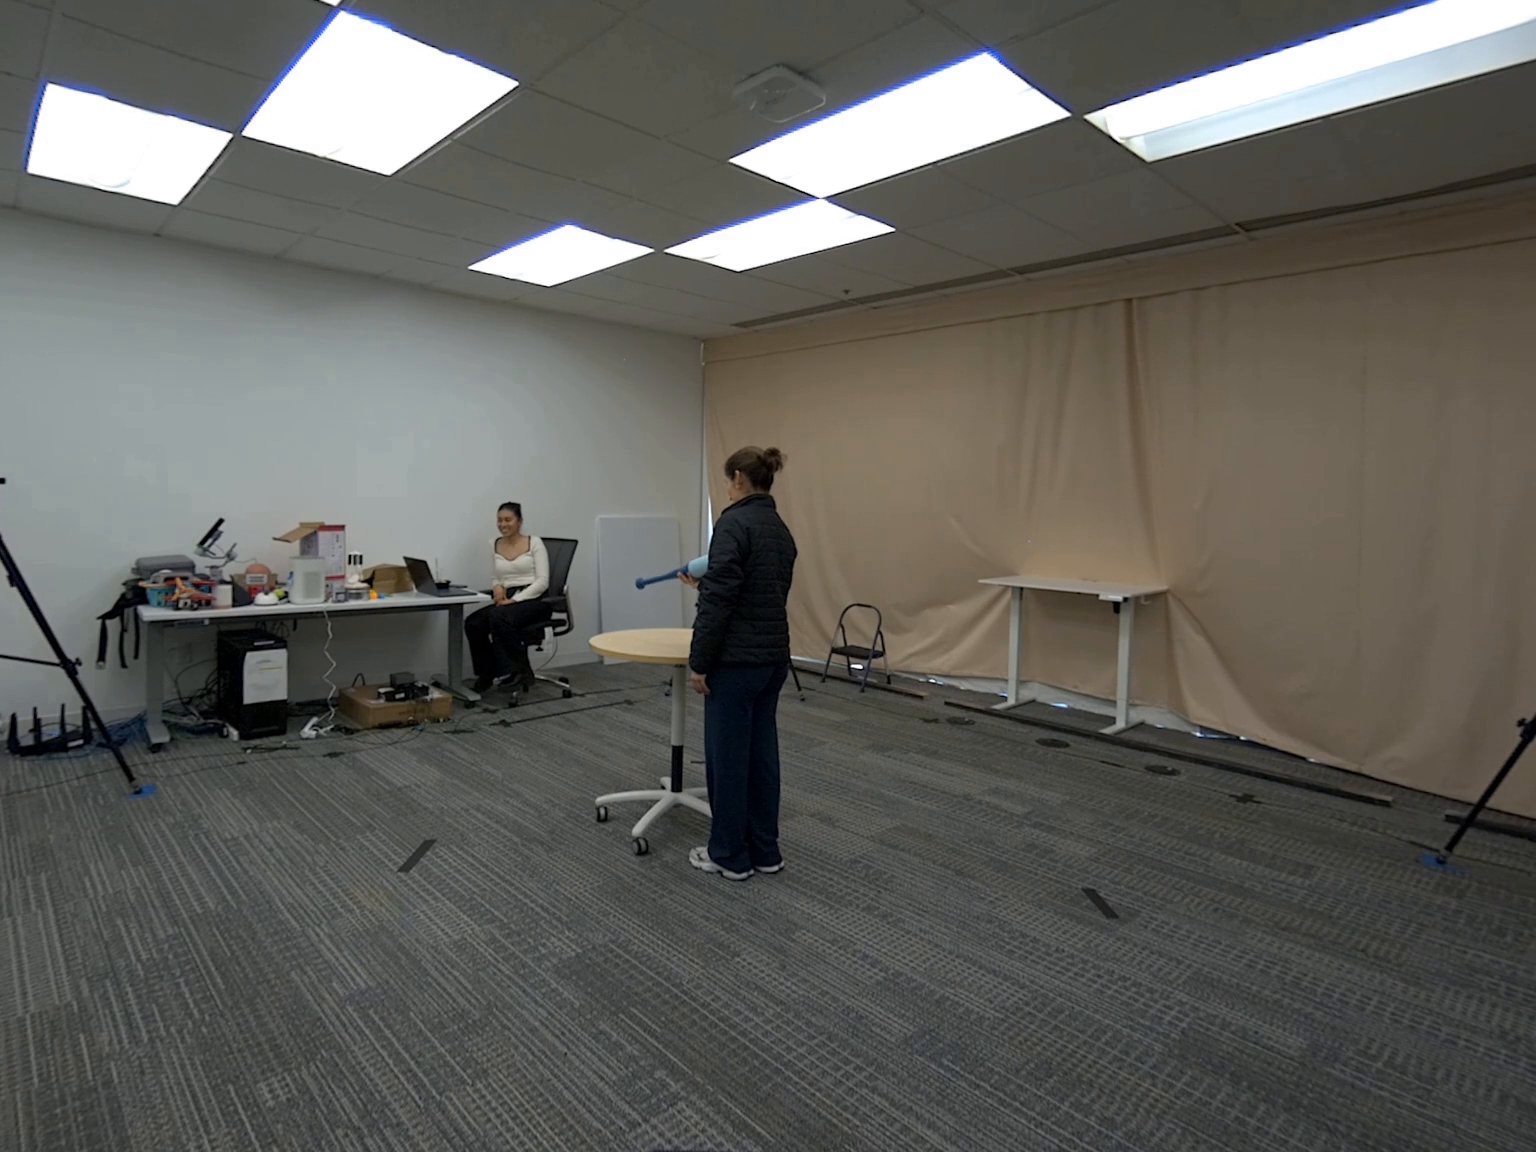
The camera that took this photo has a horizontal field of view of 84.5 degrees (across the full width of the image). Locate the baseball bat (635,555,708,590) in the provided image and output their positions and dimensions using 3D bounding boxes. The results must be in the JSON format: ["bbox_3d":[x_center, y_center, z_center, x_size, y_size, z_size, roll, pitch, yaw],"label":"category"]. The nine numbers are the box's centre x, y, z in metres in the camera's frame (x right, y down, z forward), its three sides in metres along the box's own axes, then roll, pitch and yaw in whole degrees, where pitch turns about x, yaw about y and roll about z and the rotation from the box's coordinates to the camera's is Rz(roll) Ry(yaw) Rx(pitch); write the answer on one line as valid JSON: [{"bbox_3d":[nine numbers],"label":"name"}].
[{"bbox_3d":[-0.330,-0.017,3.445,0.551,0.089,0.087,-15,-4,29],"label":"baseball bat"}]
